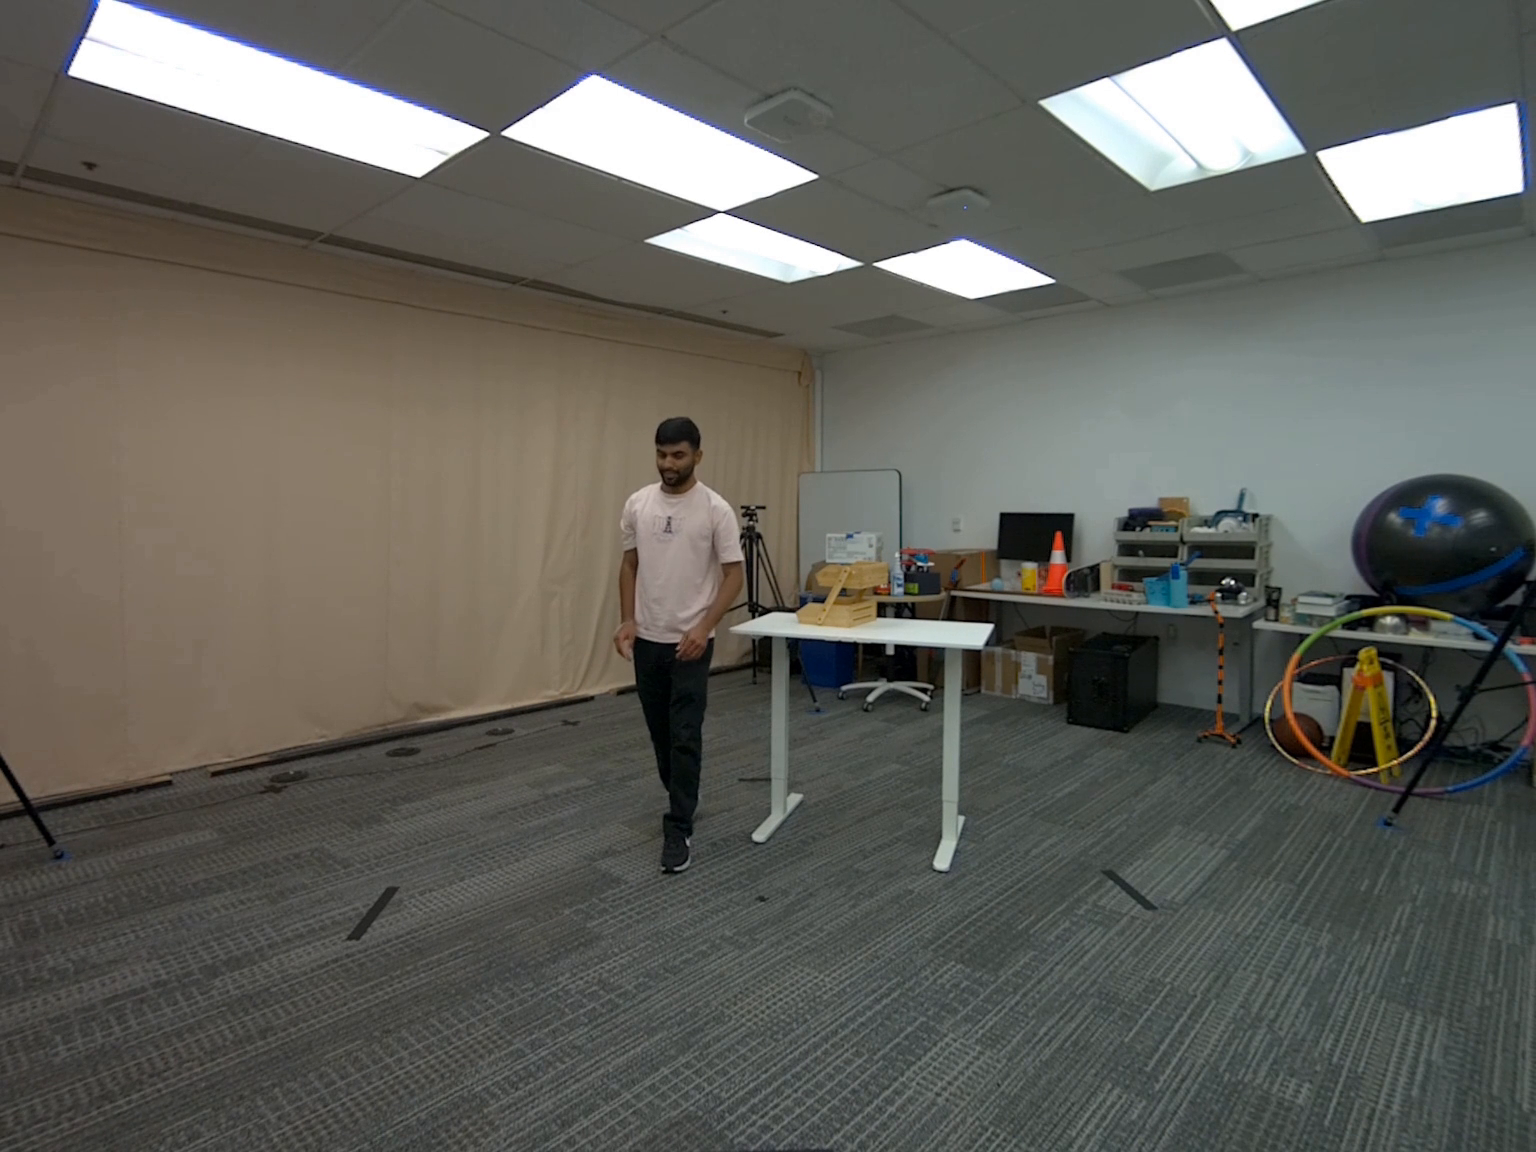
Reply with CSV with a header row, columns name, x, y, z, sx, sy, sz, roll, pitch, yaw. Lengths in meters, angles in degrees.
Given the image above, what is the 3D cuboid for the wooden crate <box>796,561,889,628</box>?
name,x,y,z,sx,sy,sz,roll,pitch,yaw
wooden crate,0.324,0.072,3.681,0.311,0.272,0.316,3,5,31
